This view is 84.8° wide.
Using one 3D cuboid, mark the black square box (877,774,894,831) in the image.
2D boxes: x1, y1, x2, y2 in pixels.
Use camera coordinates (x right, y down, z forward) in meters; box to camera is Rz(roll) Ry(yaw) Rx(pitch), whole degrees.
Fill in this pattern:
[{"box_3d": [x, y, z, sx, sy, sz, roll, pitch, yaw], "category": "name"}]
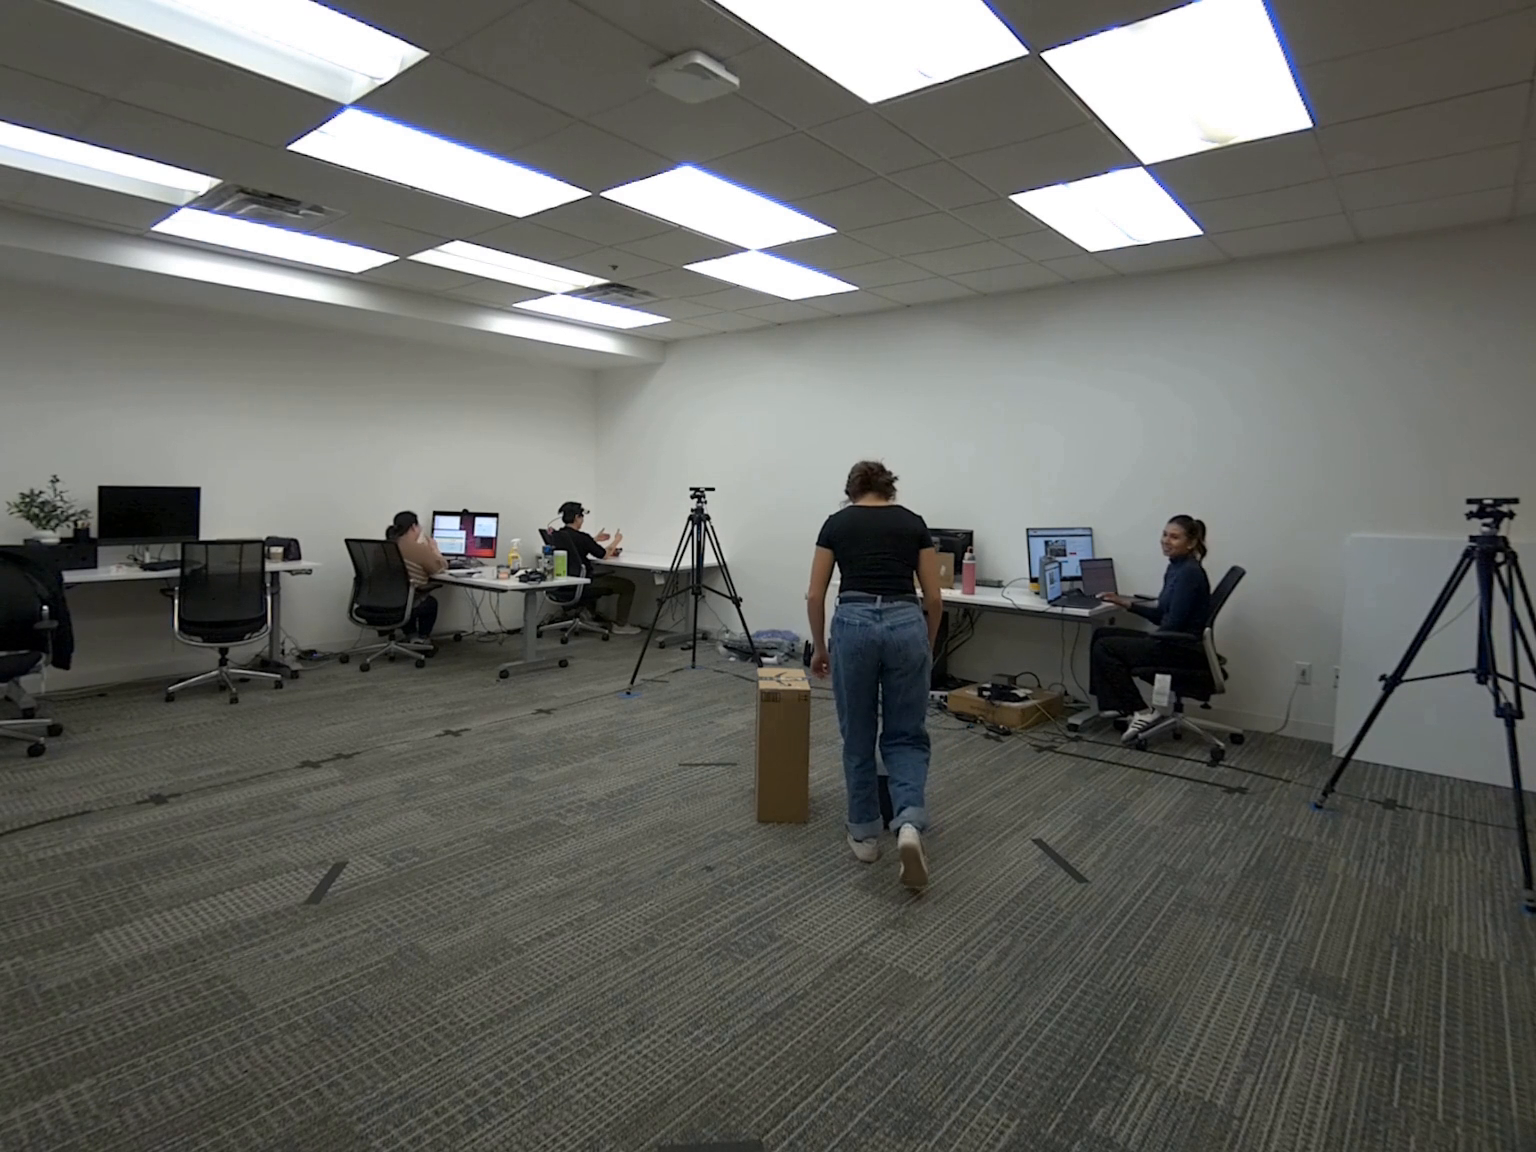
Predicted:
[{"box_3d": [0.508, 0.908, 3.571, 0.219, 0.227, 0.155, 2, 4, 10], "category": "black square box"}]
